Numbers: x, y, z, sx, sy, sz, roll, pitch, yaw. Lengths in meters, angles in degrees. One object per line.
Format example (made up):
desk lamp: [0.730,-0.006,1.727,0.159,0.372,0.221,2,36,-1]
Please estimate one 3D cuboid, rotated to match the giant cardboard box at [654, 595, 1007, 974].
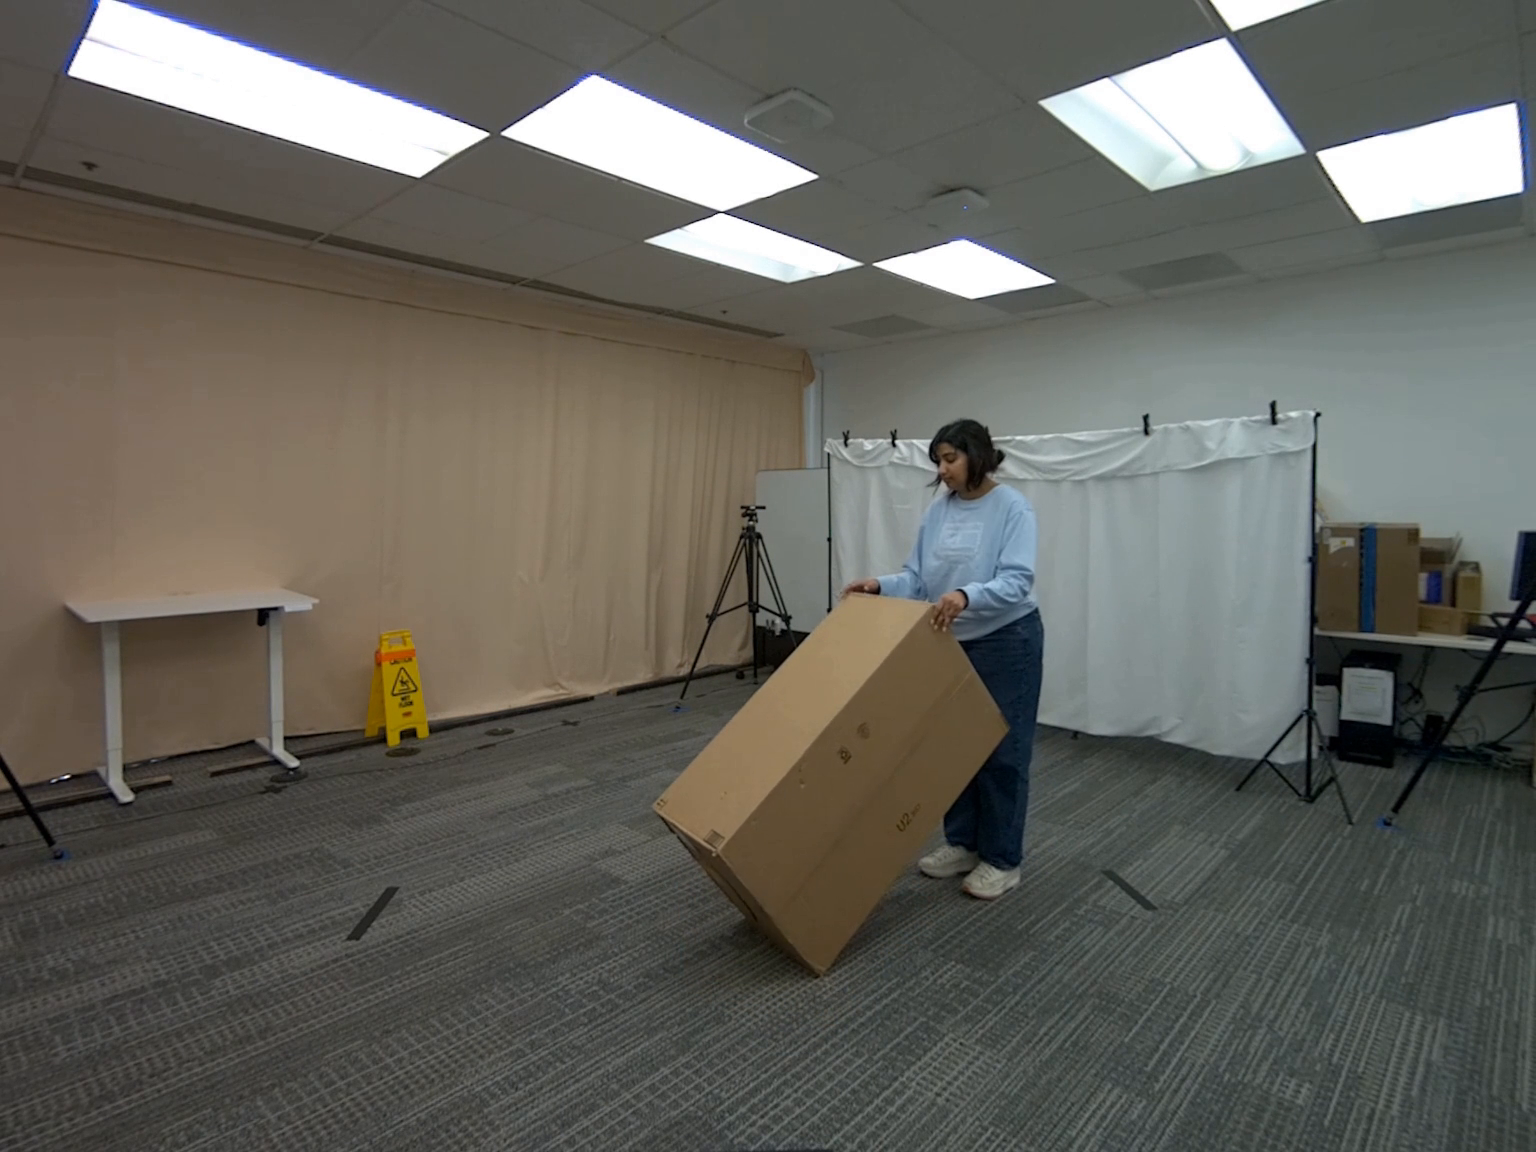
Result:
giant cardboard box: [0.224,0.625,2.744,1.020,0.570,0.460,-44,25,-21]
